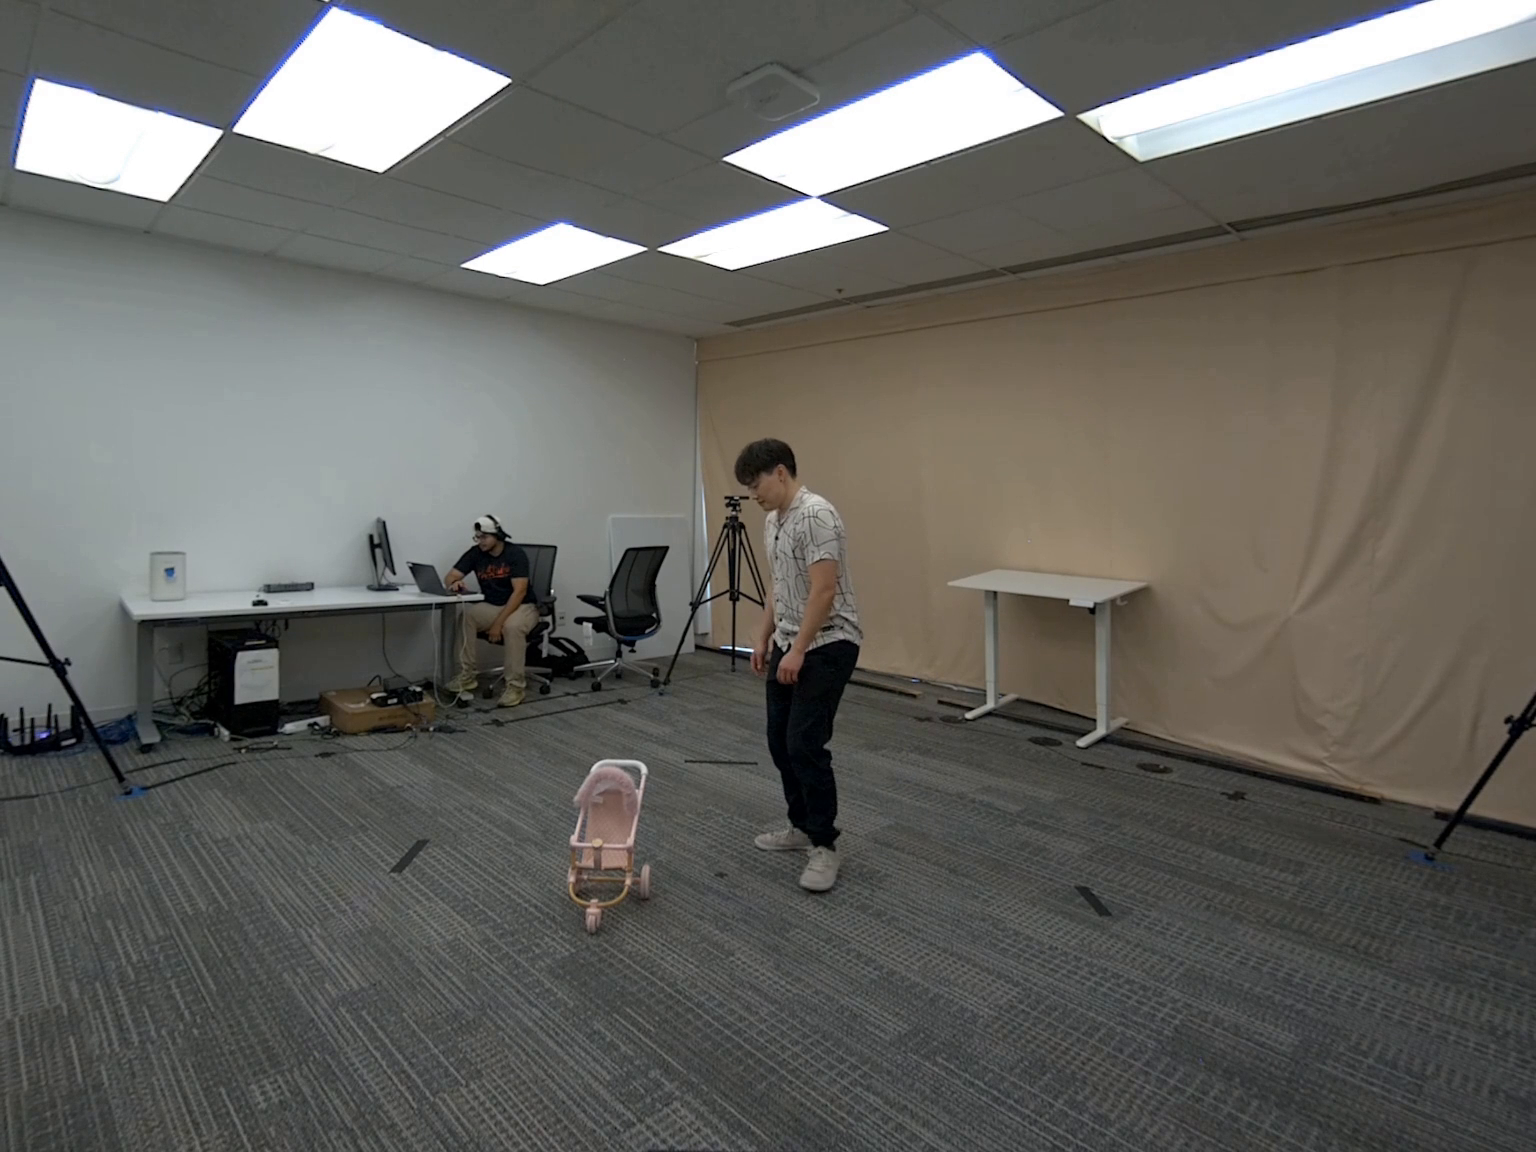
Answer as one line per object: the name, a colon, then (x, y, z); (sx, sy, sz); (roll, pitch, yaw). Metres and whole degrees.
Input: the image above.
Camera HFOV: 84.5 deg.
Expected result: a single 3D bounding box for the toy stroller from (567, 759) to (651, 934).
toy stroller: (-0.554, 0.896, 2.852); (0.283, 0.540, 0.336); (1, -13, 6)
